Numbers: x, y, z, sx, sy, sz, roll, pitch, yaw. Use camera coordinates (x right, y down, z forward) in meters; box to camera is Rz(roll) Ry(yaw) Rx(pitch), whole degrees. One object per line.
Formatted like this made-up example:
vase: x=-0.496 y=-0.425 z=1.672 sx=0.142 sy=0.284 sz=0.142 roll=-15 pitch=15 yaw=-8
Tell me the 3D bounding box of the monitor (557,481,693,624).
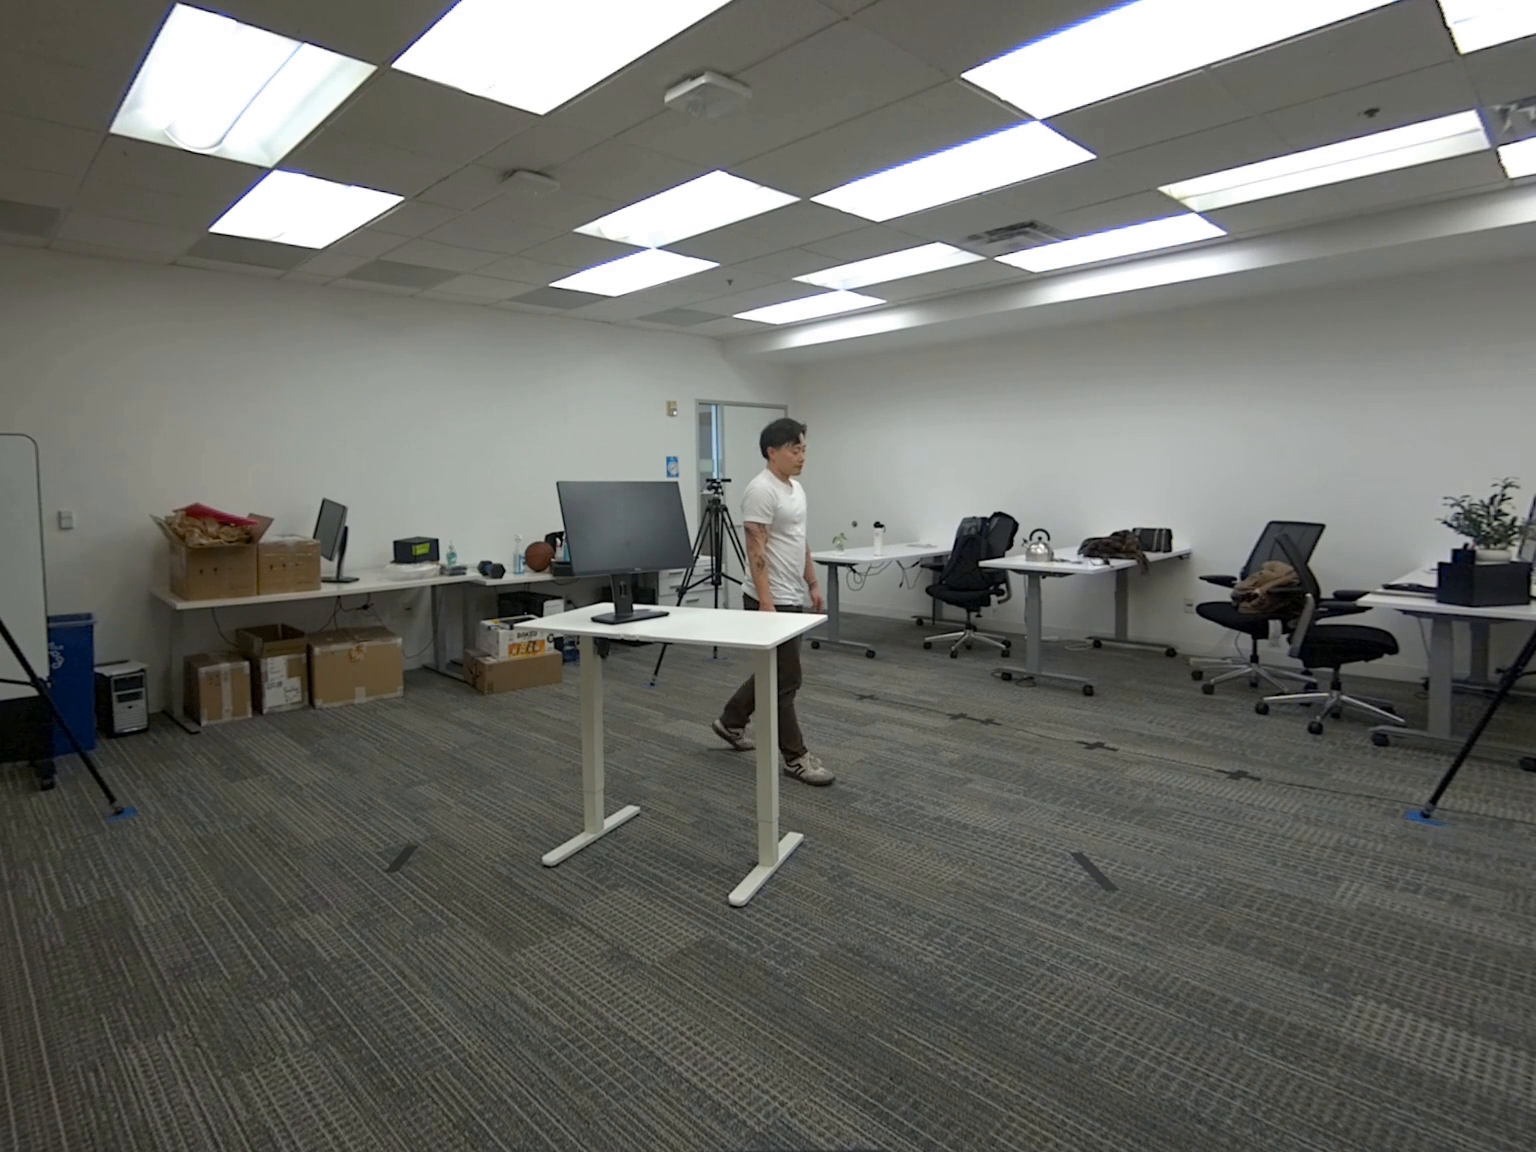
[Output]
monitor: x=-0.535 y=-0.095 z=3.211 sx=0.524 sy=0.522 sz=0.192 roll=-4 pitch=1 yaw=-43
